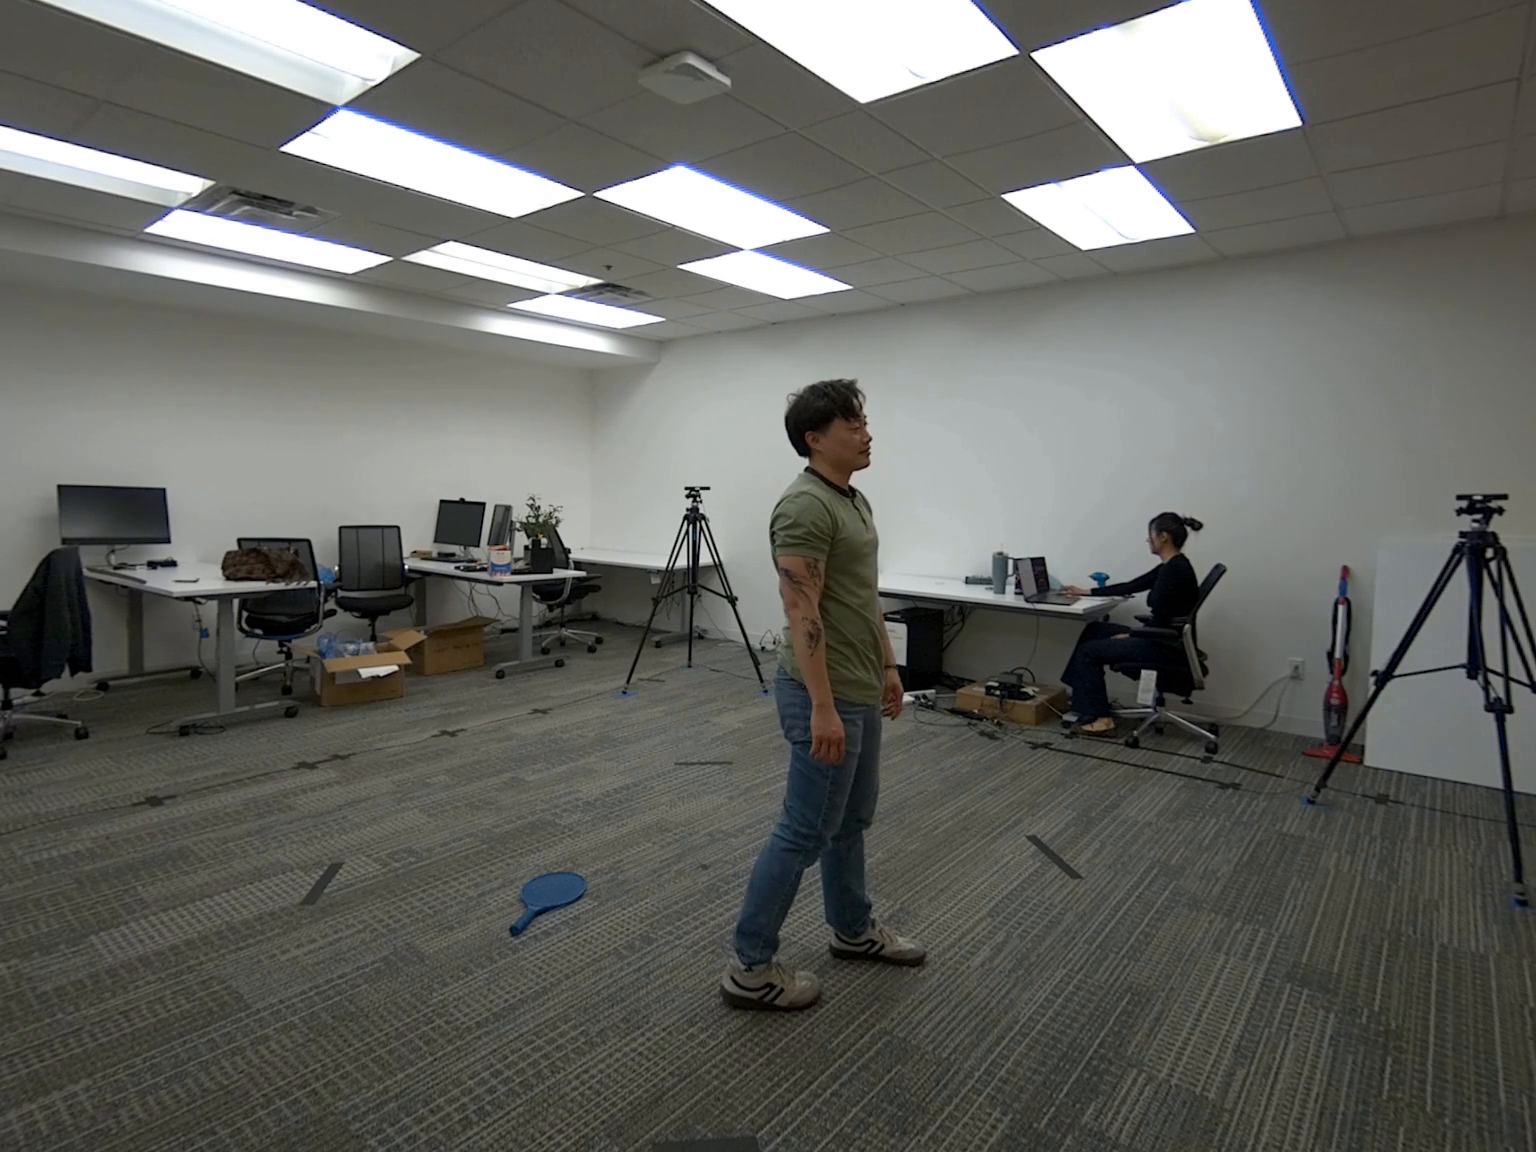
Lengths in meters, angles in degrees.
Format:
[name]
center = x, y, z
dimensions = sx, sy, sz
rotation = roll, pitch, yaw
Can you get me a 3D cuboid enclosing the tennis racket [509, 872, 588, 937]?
[tennis racket]
center = -0.756, 1.073, 2.830
dimensions = 0.217, 0.031, 0.428
rotation = 1, 5, 11
